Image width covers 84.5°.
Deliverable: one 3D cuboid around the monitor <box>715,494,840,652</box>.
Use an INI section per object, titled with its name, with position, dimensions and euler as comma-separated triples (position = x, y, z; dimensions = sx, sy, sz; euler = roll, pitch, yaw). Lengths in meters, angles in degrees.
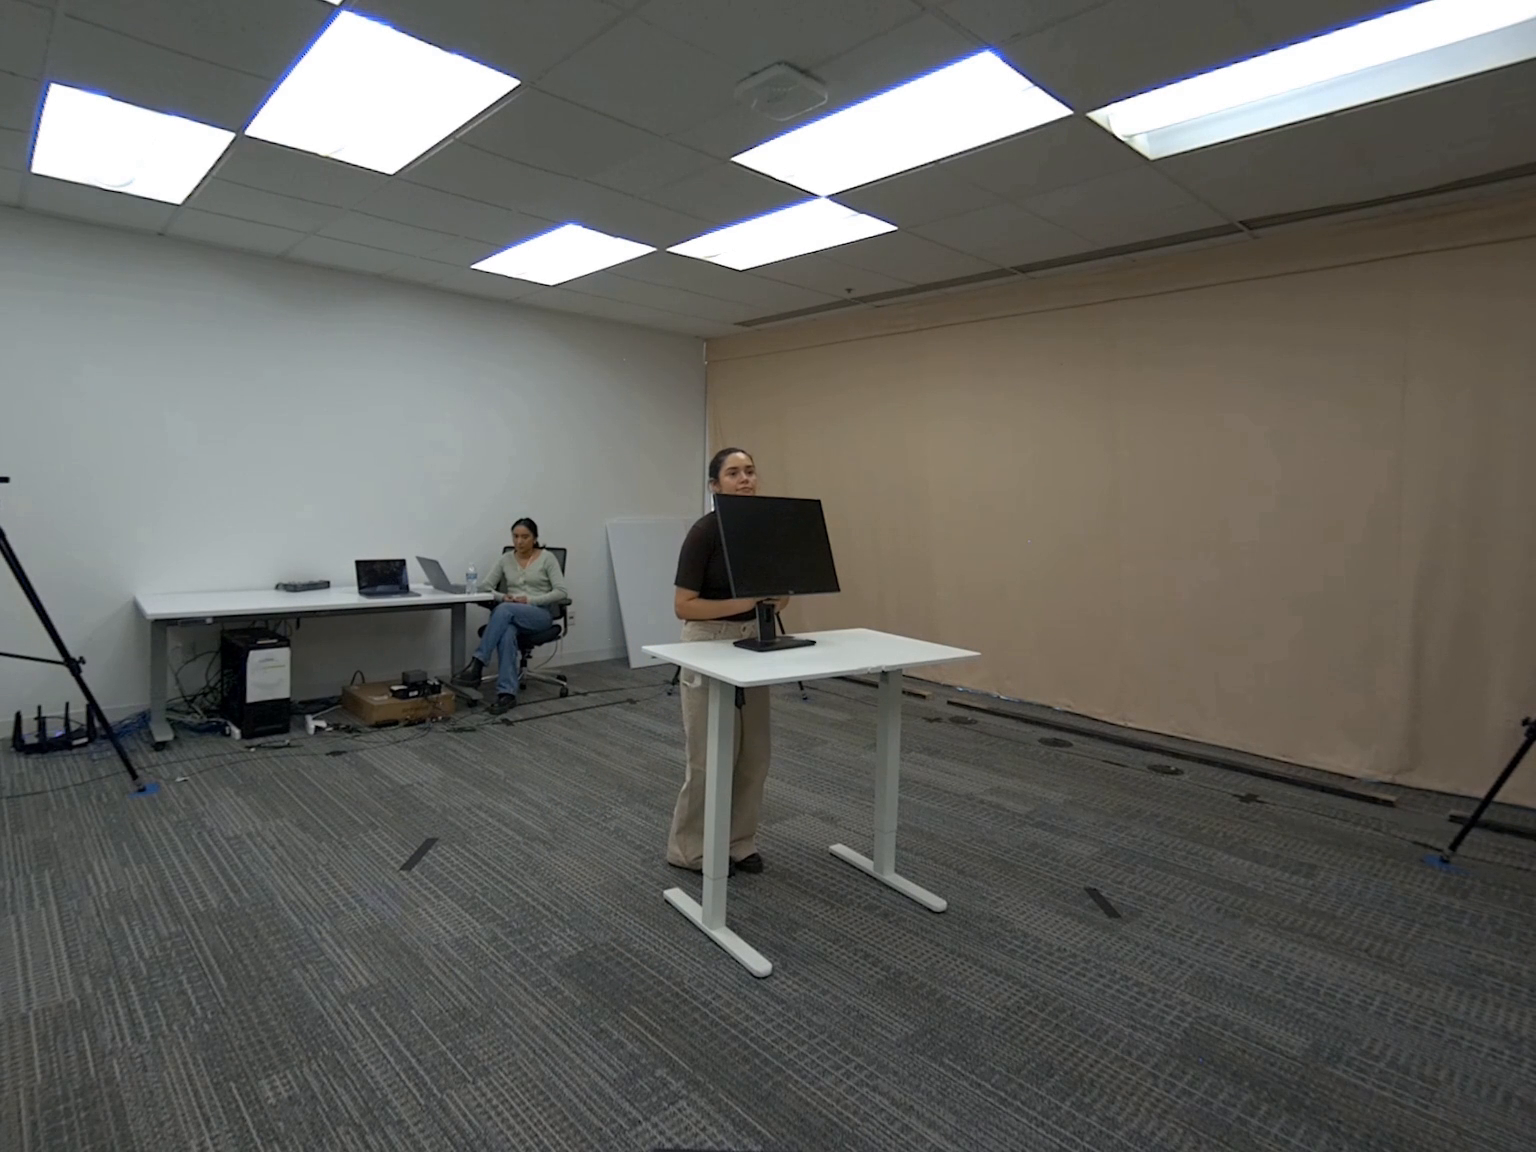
[monitor]
position = 0.014, -0.011, 2.914
dimensions = 0.191, 0.523, 0.526
euler = 0, 0, 41
